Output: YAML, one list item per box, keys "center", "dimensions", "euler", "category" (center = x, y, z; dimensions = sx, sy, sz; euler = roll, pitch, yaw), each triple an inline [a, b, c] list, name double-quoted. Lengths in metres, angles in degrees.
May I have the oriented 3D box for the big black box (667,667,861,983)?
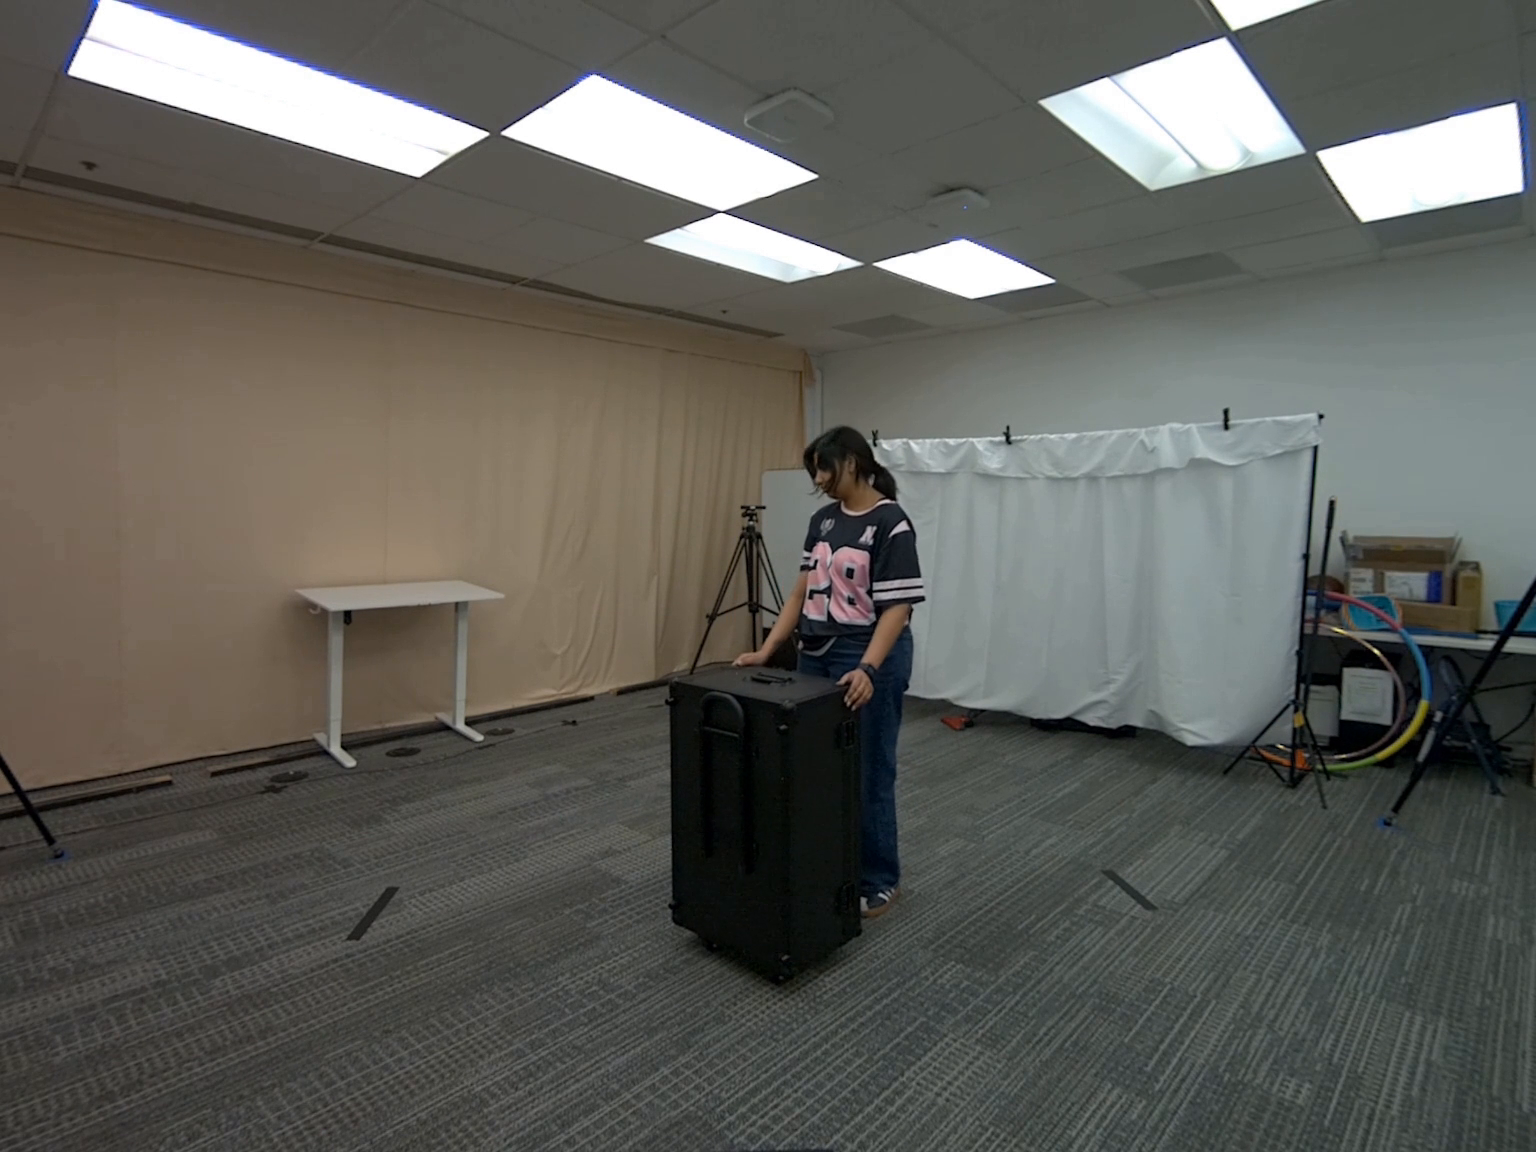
- center: [-0.012, 0.752, 2.600]
  dimensions: [0.538, 0.859, 0.384]
  euler: [3, 5, 42]
  category: "big black box"
